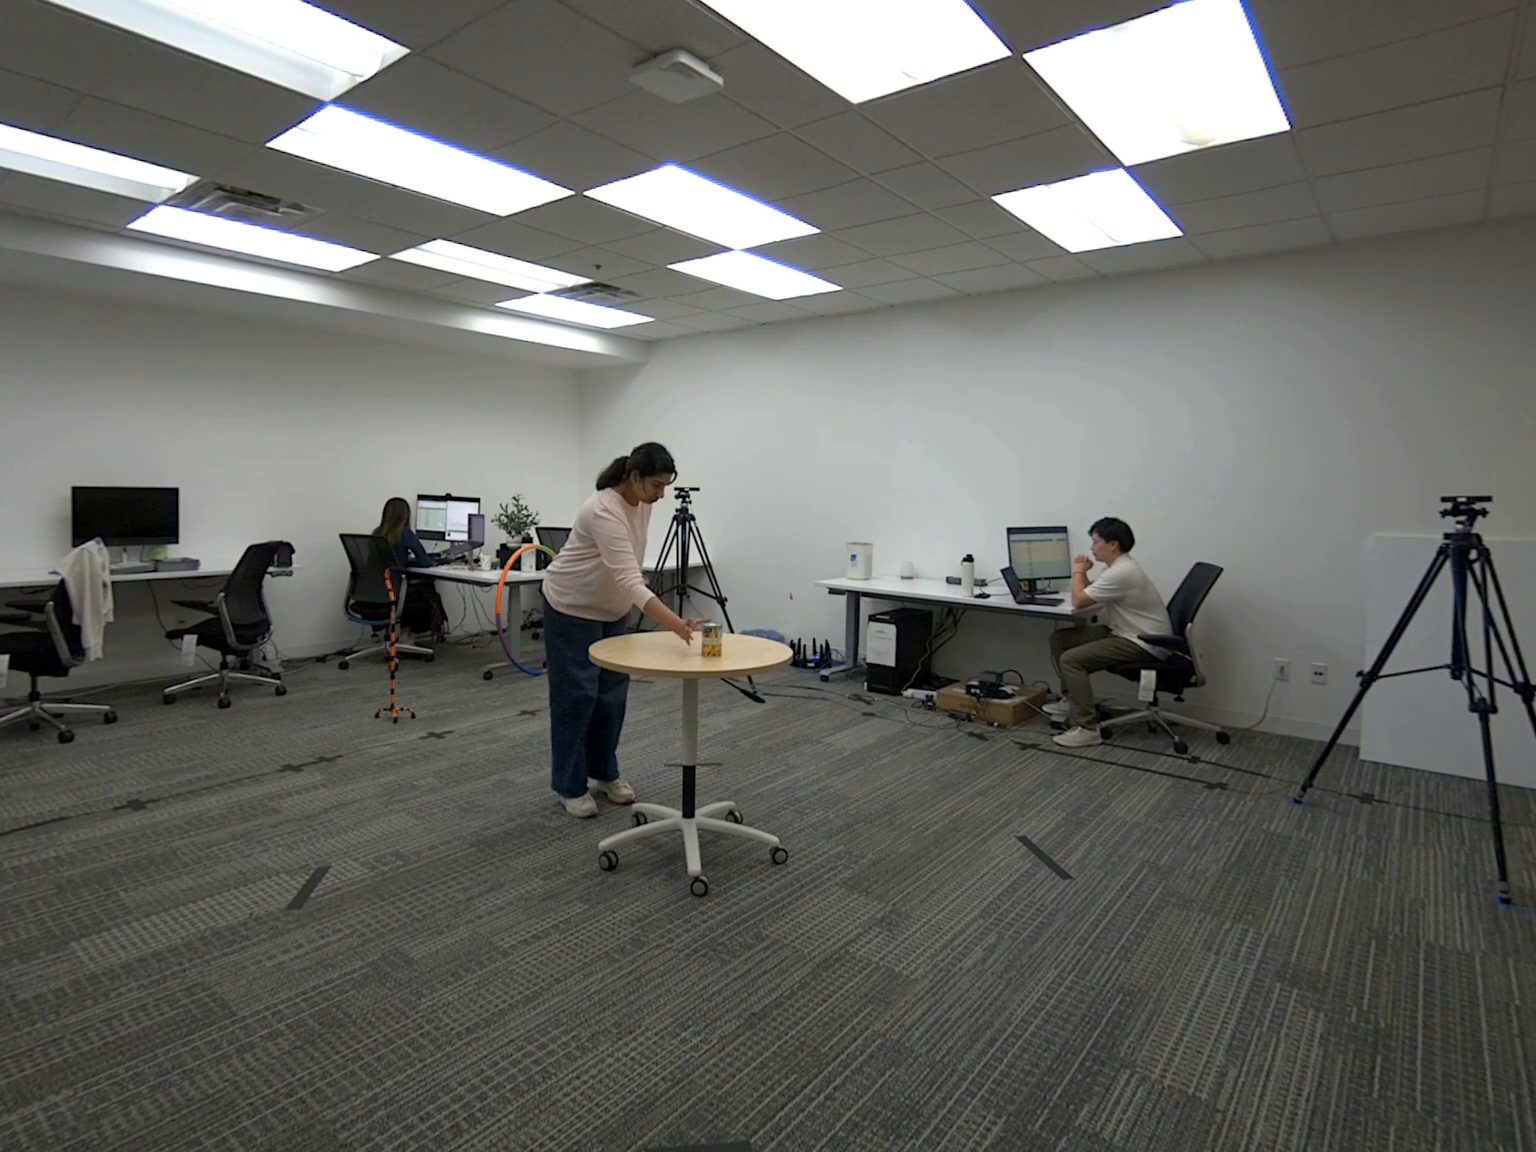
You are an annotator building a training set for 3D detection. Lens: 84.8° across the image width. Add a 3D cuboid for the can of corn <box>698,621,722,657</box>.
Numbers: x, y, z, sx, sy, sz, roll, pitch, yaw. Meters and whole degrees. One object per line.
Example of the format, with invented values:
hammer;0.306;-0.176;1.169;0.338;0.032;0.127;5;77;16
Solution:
can of corn;-0.215;0.231;3.088;0.074;0.111;0.074;0;3;-2
